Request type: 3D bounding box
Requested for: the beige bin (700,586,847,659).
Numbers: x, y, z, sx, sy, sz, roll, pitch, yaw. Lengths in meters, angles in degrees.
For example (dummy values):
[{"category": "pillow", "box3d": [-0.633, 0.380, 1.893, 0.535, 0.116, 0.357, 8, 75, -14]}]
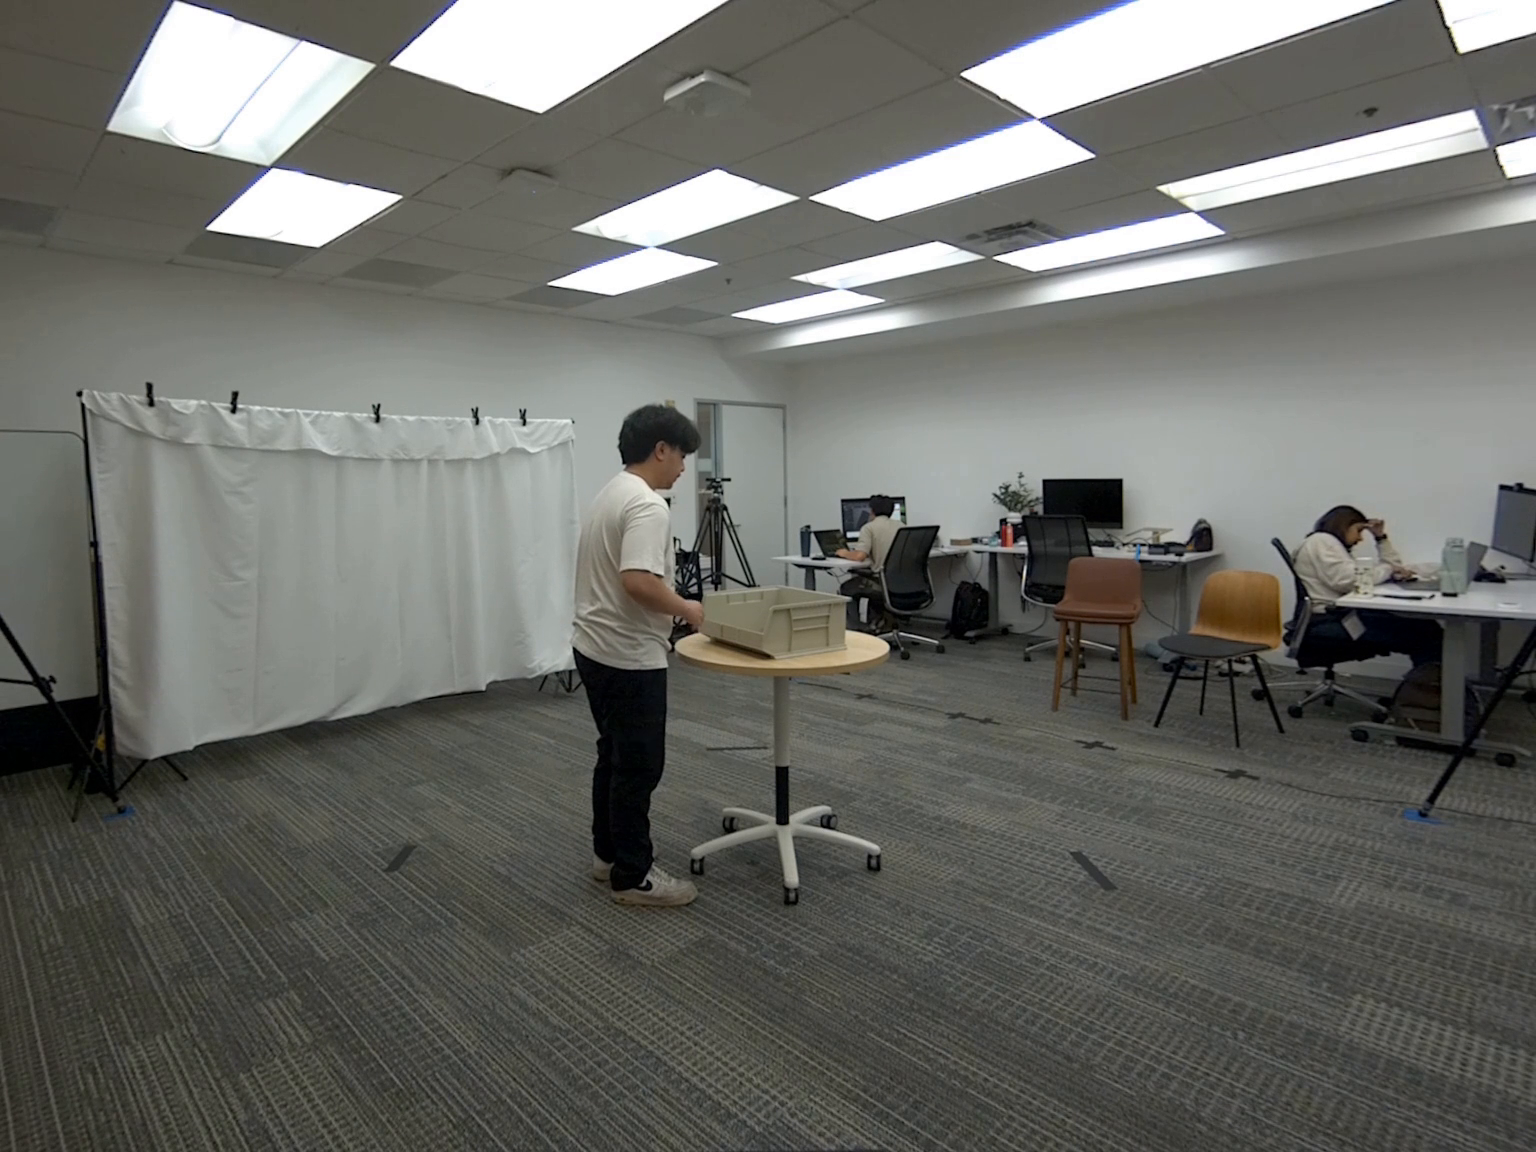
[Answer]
[{"category": "beige bin", "box3d": [0.015, 0.156, 3.045, 0.368, 0.188, 0.434, -3, 5, -35]}]
